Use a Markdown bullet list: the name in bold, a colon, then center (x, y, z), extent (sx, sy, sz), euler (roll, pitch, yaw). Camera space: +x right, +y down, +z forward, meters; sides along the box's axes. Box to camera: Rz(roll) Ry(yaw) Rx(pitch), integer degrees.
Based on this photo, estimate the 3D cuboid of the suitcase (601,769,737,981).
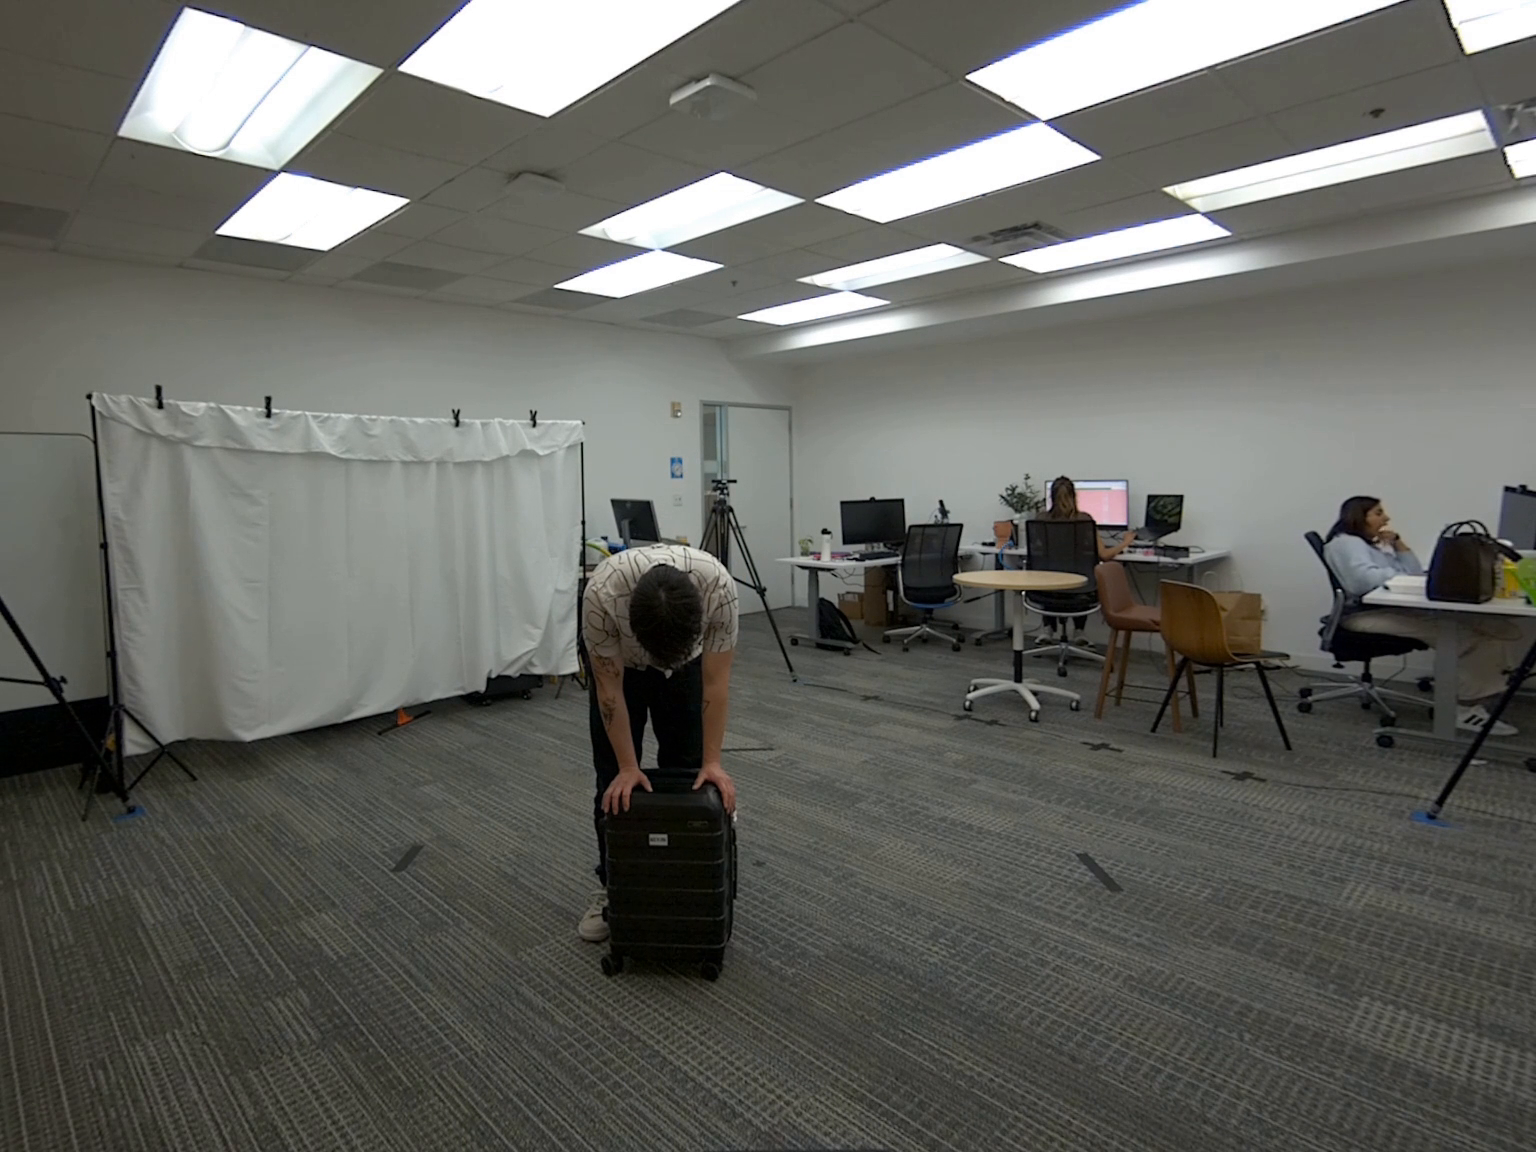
- **suitcase**: center (-0.279, 0.852, 2.491), extent (0.377, 0.546, 0.249), euler (0, 6, 4)
